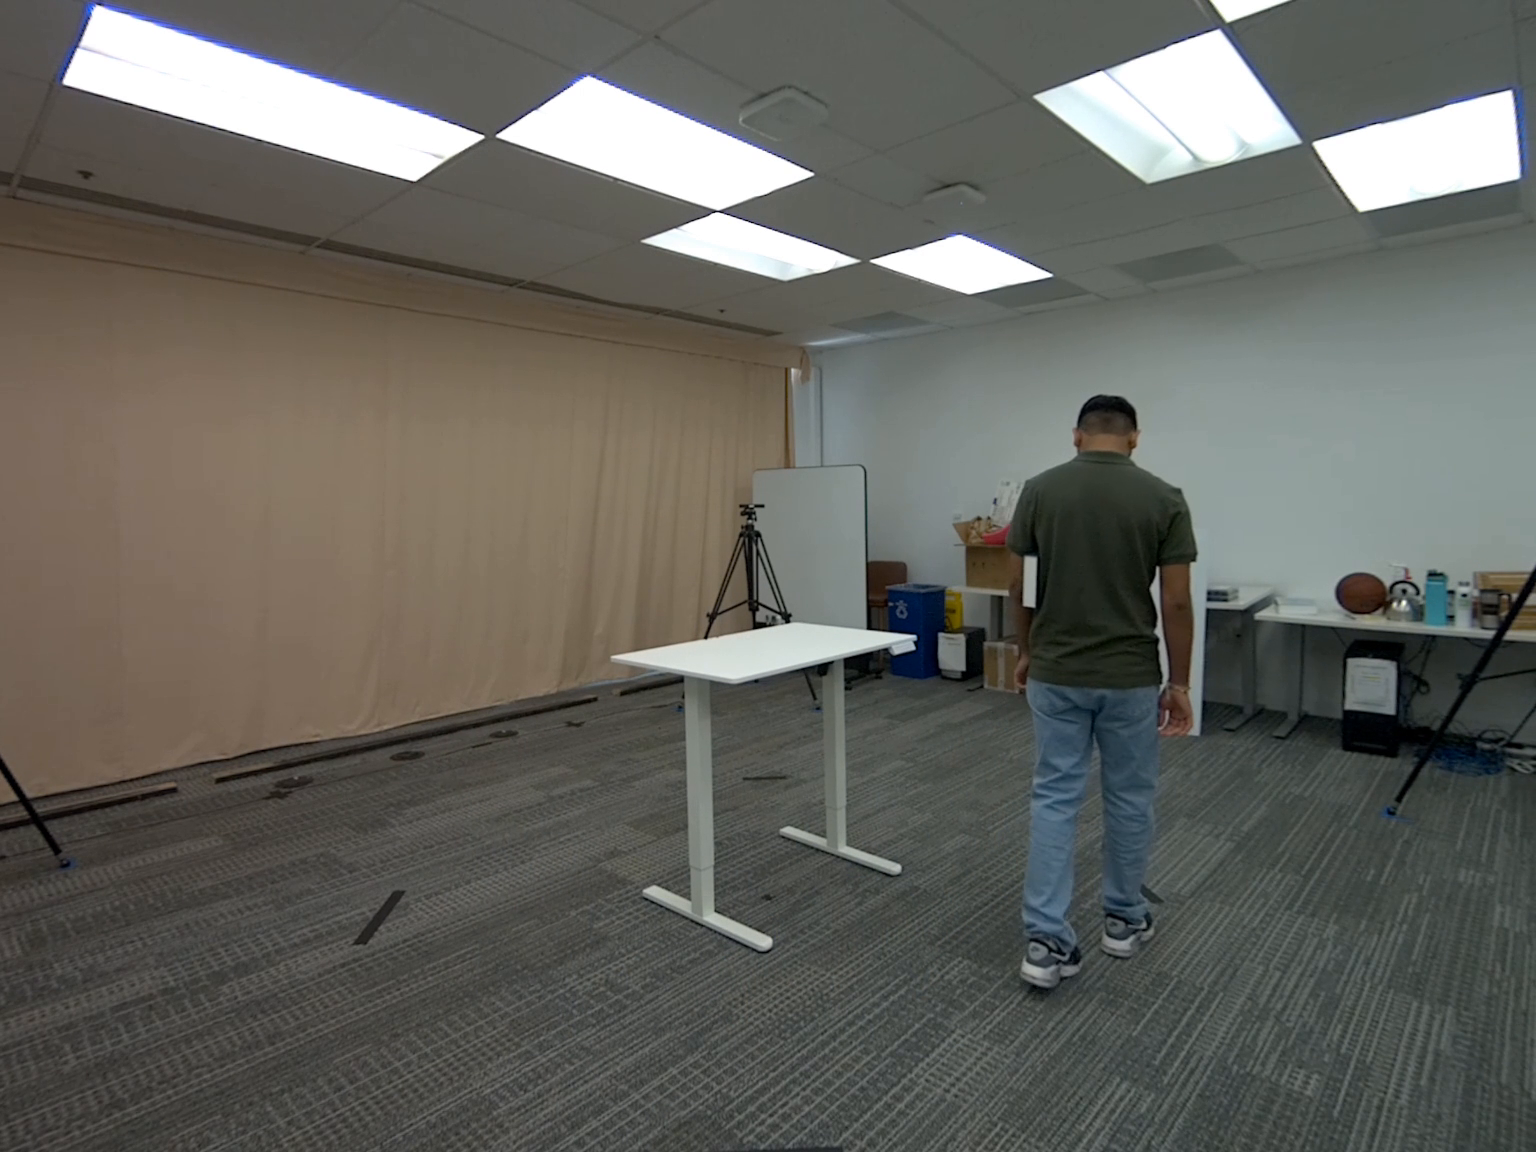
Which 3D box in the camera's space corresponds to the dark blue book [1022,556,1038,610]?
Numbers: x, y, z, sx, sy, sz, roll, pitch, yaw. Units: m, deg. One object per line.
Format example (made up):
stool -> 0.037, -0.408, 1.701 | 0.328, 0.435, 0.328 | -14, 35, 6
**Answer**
dark blue book -> 0.859, -0.002, 2.587 | 0.047, 0.163, 0.238 | 3, 8, 39
